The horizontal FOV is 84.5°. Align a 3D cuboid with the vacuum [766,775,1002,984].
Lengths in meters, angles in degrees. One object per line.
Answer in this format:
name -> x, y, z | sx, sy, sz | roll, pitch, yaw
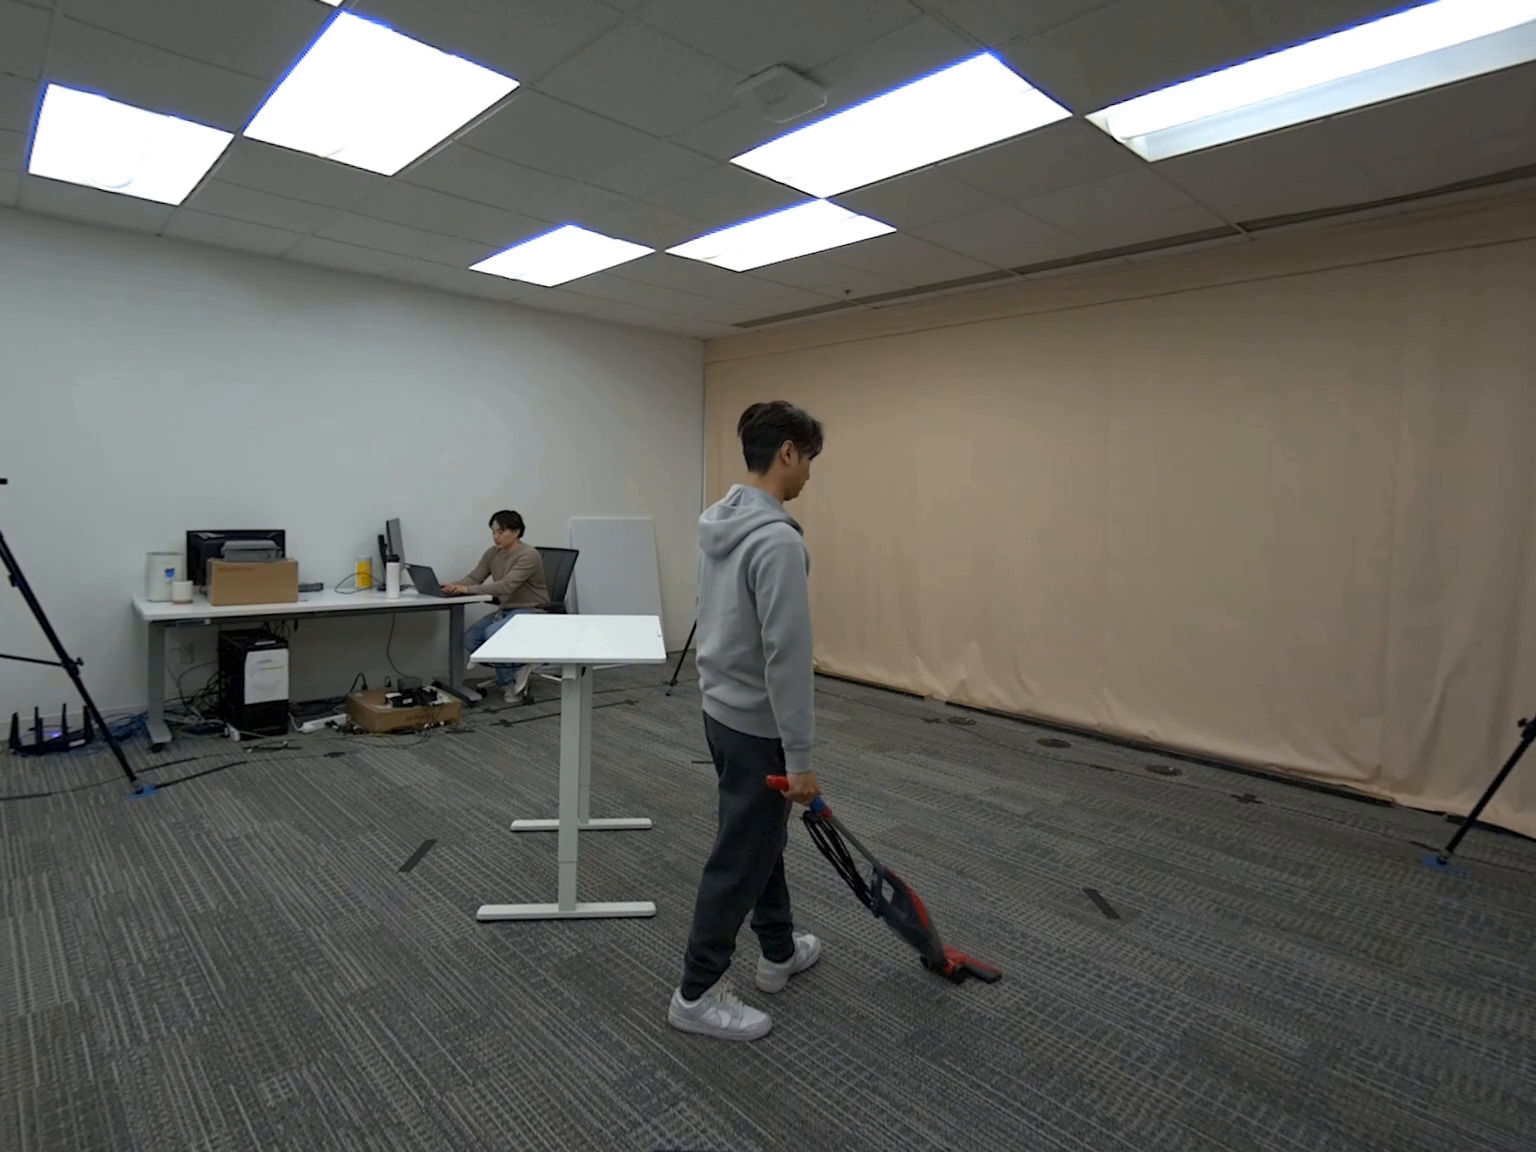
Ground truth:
vacuum -> 0.286, 0.834, 2.268 | 0.259, 0.144, 1.019 | 8, -35, 49
